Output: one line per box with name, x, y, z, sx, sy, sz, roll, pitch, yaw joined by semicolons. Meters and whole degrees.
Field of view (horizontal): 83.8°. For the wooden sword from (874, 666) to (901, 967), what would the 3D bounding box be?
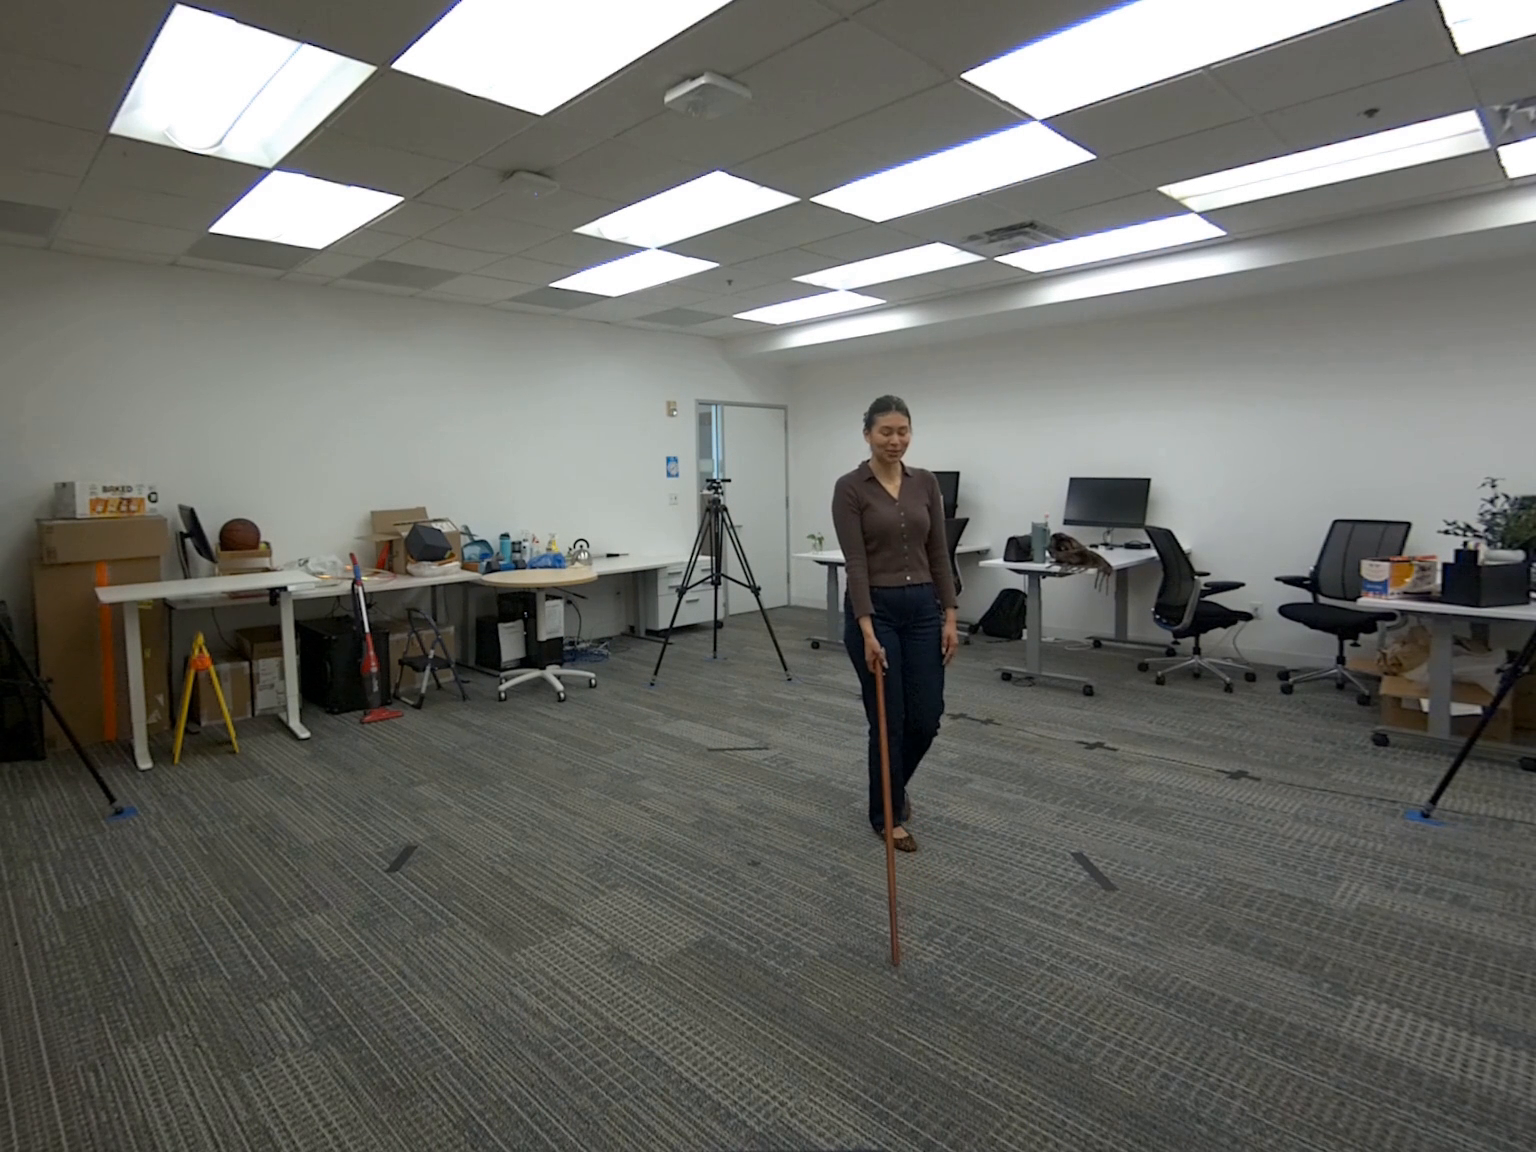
wooden sword;0.386;0.699;2.741;0.052;1.051;0.023;-6;-35;8
